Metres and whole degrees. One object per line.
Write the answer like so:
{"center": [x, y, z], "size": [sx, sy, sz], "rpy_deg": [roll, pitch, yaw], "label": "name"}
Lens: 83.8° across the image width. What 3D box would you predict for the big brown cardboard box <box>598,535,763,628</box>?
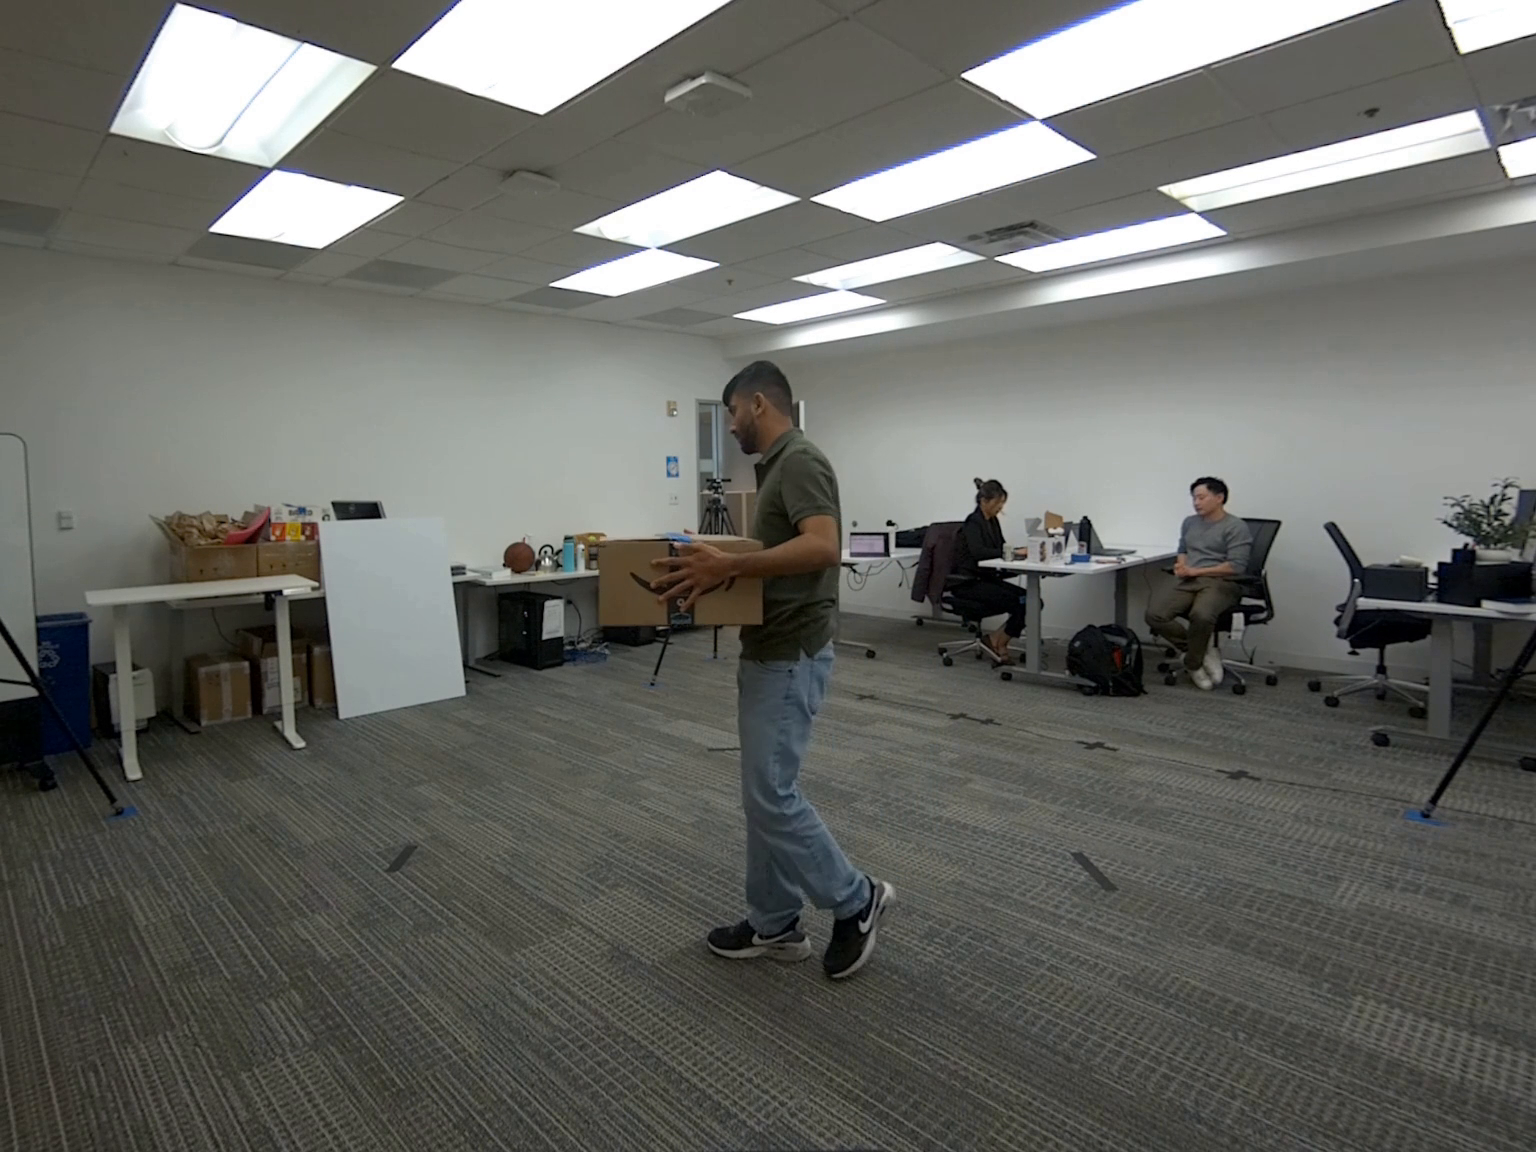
{"center": [-0.265, -0.003, 2.424], "size": [0.415, 0.232, 0.595], "rpy_deg": [-1, 4, -8], "label": "big brown cardboard box"}
